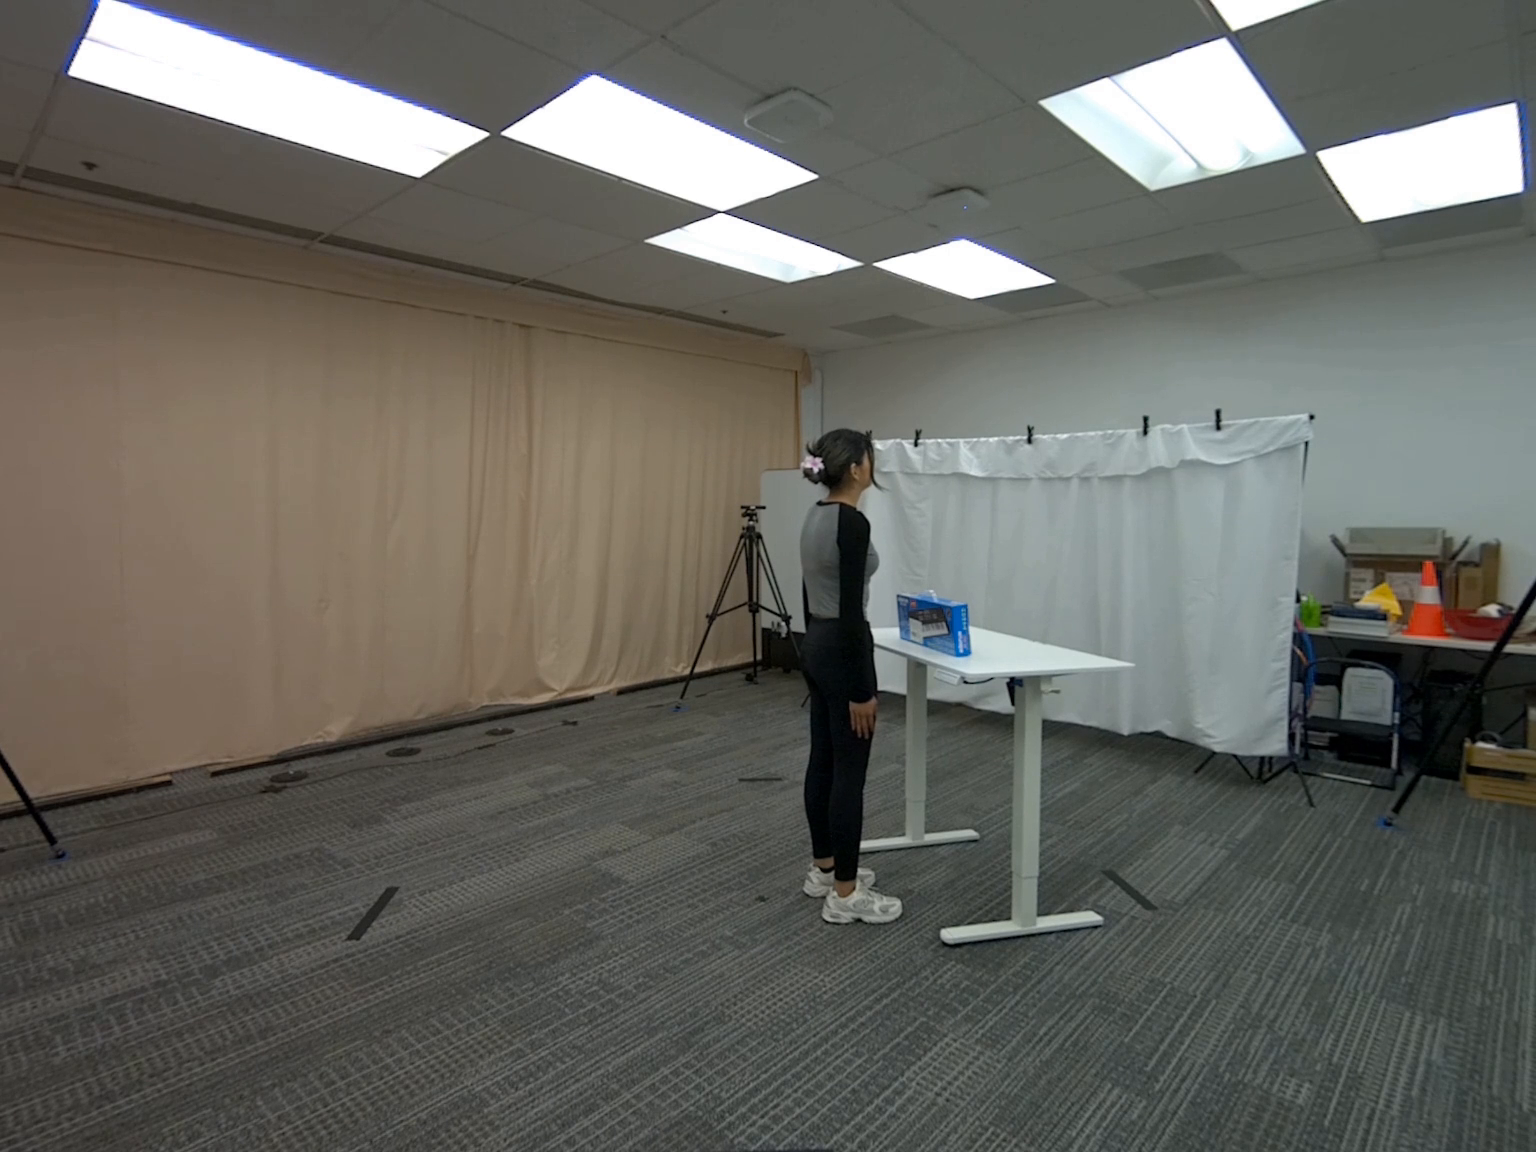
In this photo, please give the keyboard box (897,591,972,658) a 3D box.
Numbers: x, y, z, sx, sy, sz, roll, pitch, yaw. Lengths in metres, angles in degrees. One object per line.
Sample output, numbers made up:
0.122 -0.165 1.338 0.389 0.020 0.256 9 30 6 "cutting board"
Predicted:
0.585 0.166 3.013 0.058 0.175 0.444 -5 4 -15 "keyboard box"
